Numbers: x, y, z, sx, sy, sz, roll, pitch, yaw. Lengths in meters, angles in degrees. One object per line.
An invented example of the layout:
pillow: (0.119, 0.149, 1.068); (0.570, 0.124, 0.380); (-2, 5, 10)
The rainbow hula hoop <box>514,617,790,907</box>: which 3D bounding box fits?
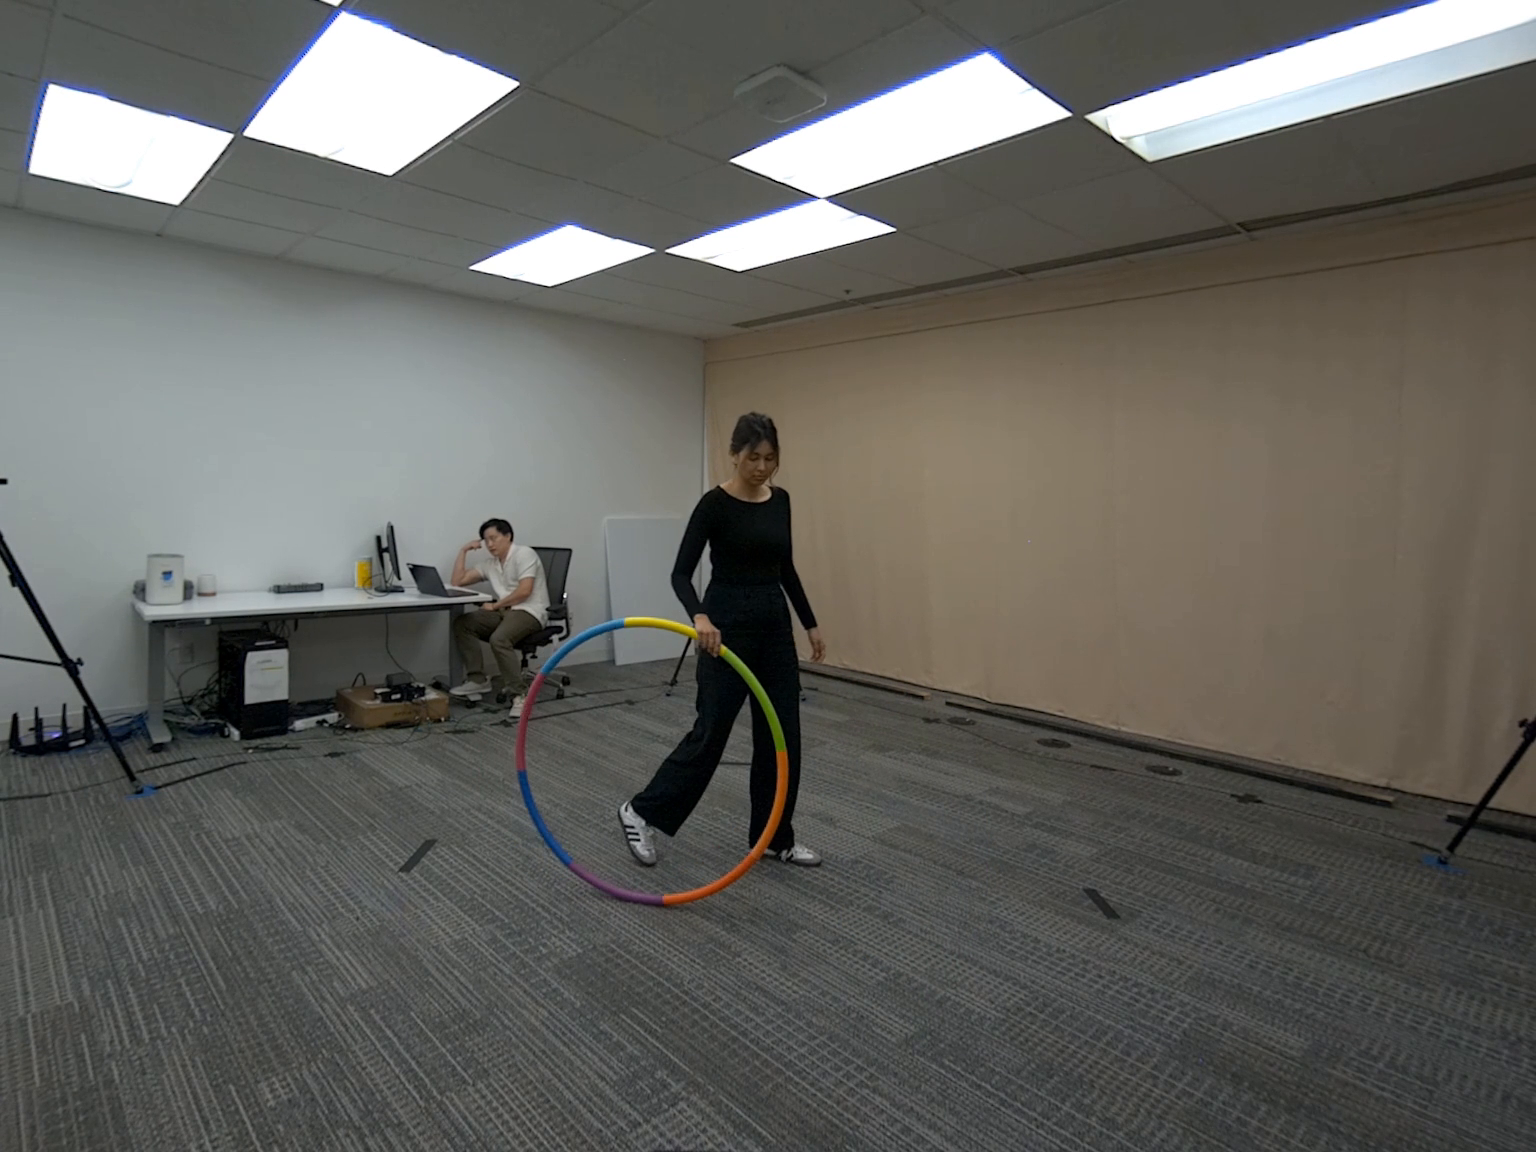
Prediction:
rainbow hula hoop: (-0.426, 0.634, 2.880); (0.991, 0.978, 0.035); (2, 1, 16)
